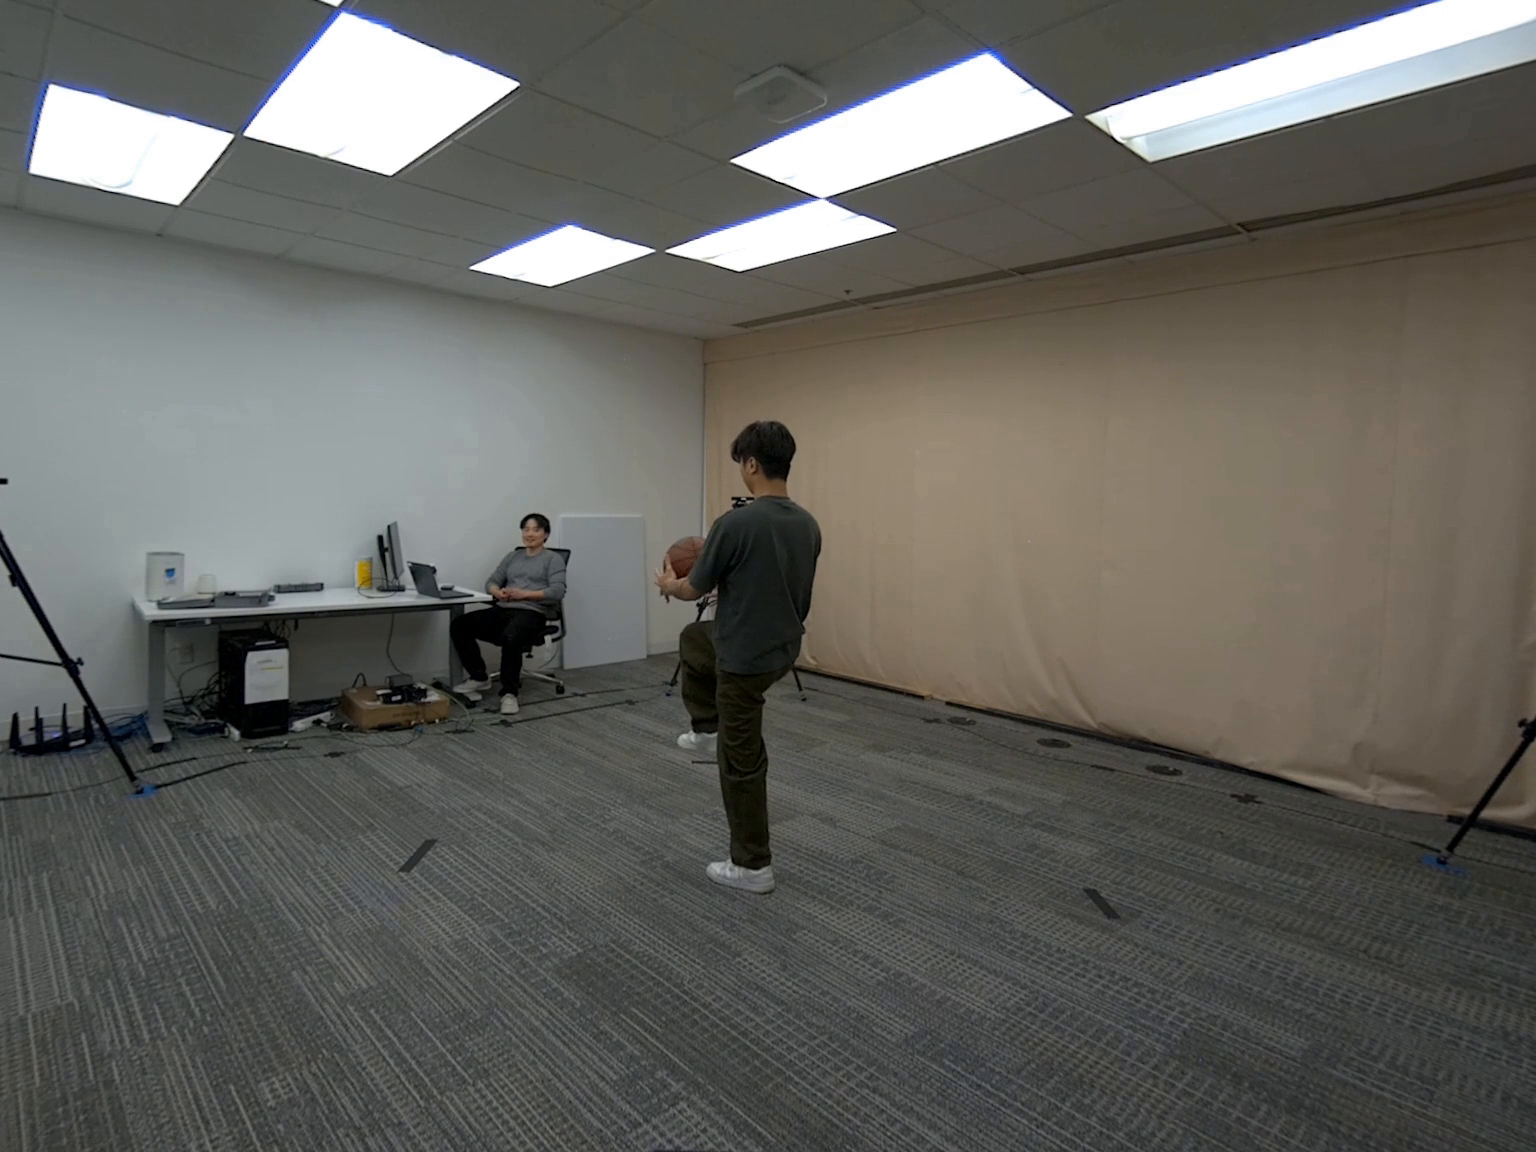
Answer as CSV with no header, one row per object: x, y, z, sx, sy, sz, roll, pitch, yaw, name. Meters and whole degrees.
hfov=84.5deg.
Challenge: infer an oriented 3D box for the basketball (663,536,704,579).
-0.303,-0.029,3.314,0.236,0.235,0.237,1,4,-1,basketball
